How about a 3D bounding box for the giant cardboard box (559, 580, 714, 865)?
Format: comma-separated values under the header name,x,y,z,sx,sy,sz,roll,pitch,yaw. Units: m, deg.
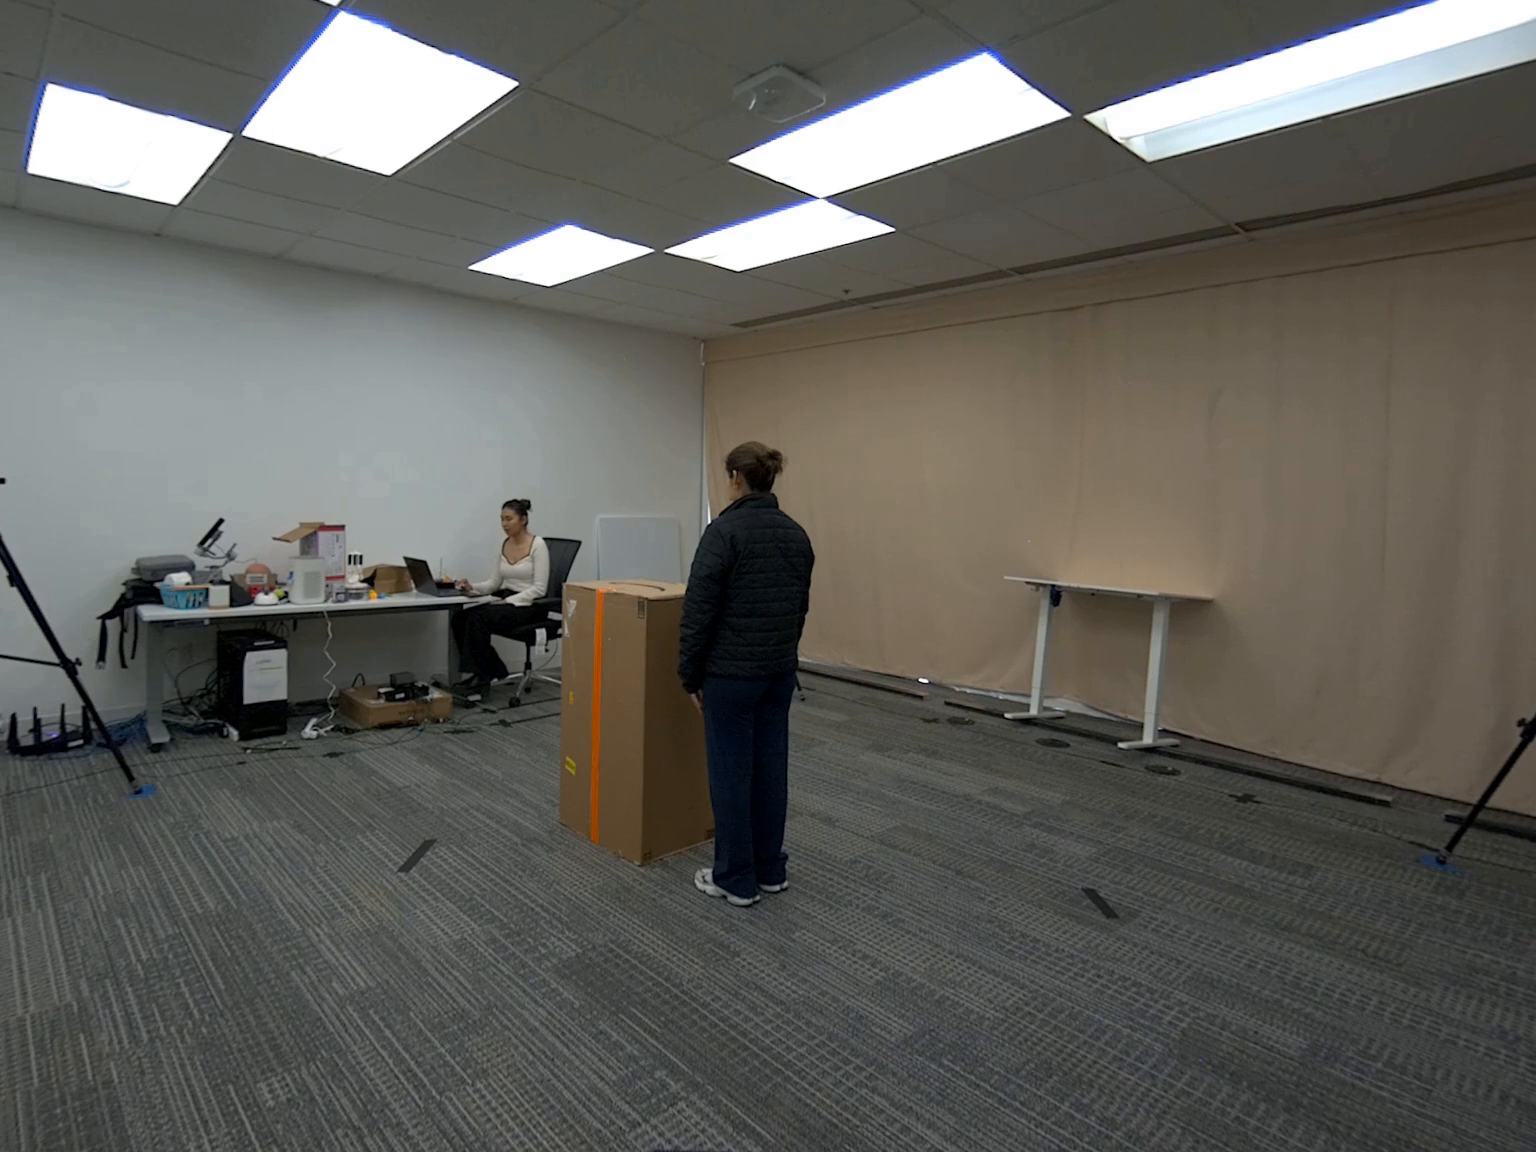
name,x,y,z,sx,sy,sz,roll,pitch,yaw
giant cardboard box,-0.535,0.558,3.477,0.416,1.023,0.592,-2,5,-44
